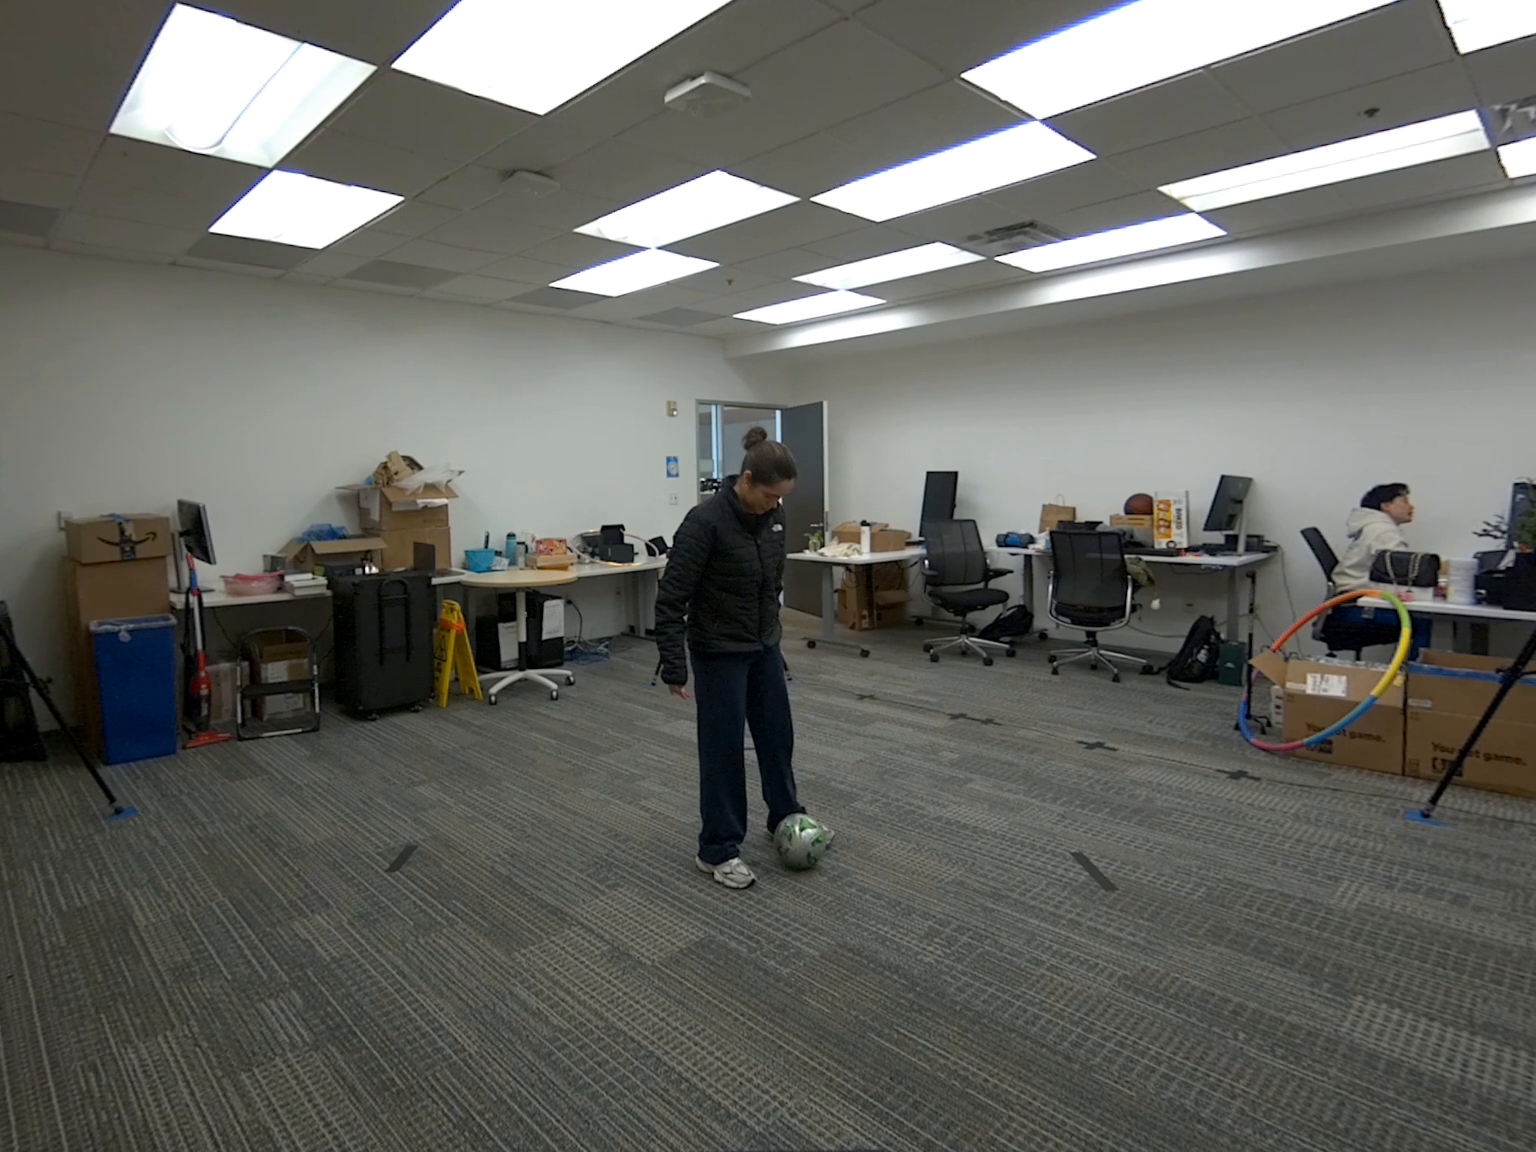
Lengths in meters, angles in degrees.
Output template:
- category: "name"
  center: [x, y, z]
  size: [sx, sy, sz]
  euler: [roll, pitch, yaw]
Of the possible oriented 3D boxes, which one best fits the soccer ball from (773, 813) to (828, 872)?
- category: "soccer ball"
  center: [0.108, 0.951, 3.072]
  size: [0.187, 0.187, 0.188]
  euler: [-1, 5, -2]
